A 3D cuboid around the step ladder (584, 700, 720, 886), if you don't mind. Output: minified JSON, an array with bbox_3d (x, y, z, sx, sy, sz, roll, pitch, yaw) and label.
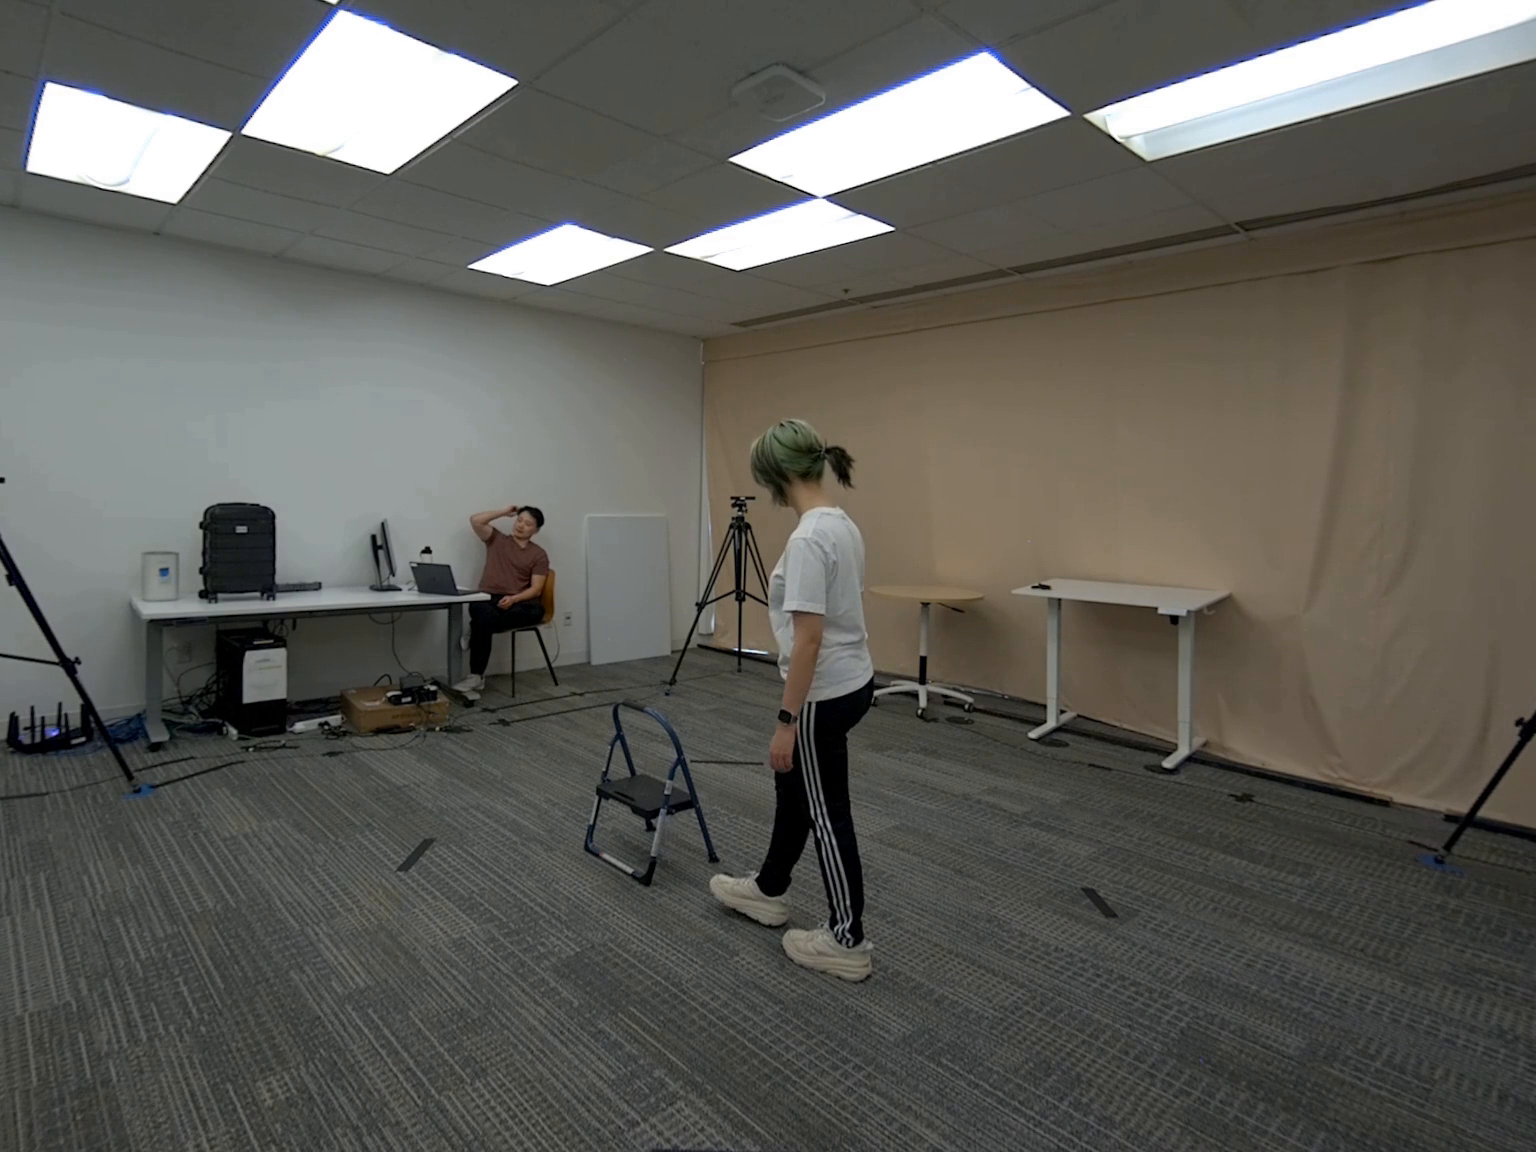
[{"bbox_3d":[-0.454,0.781,3.244,0.341,0.605,0.441,-1,4,-44],"label":"step ladder"}]
